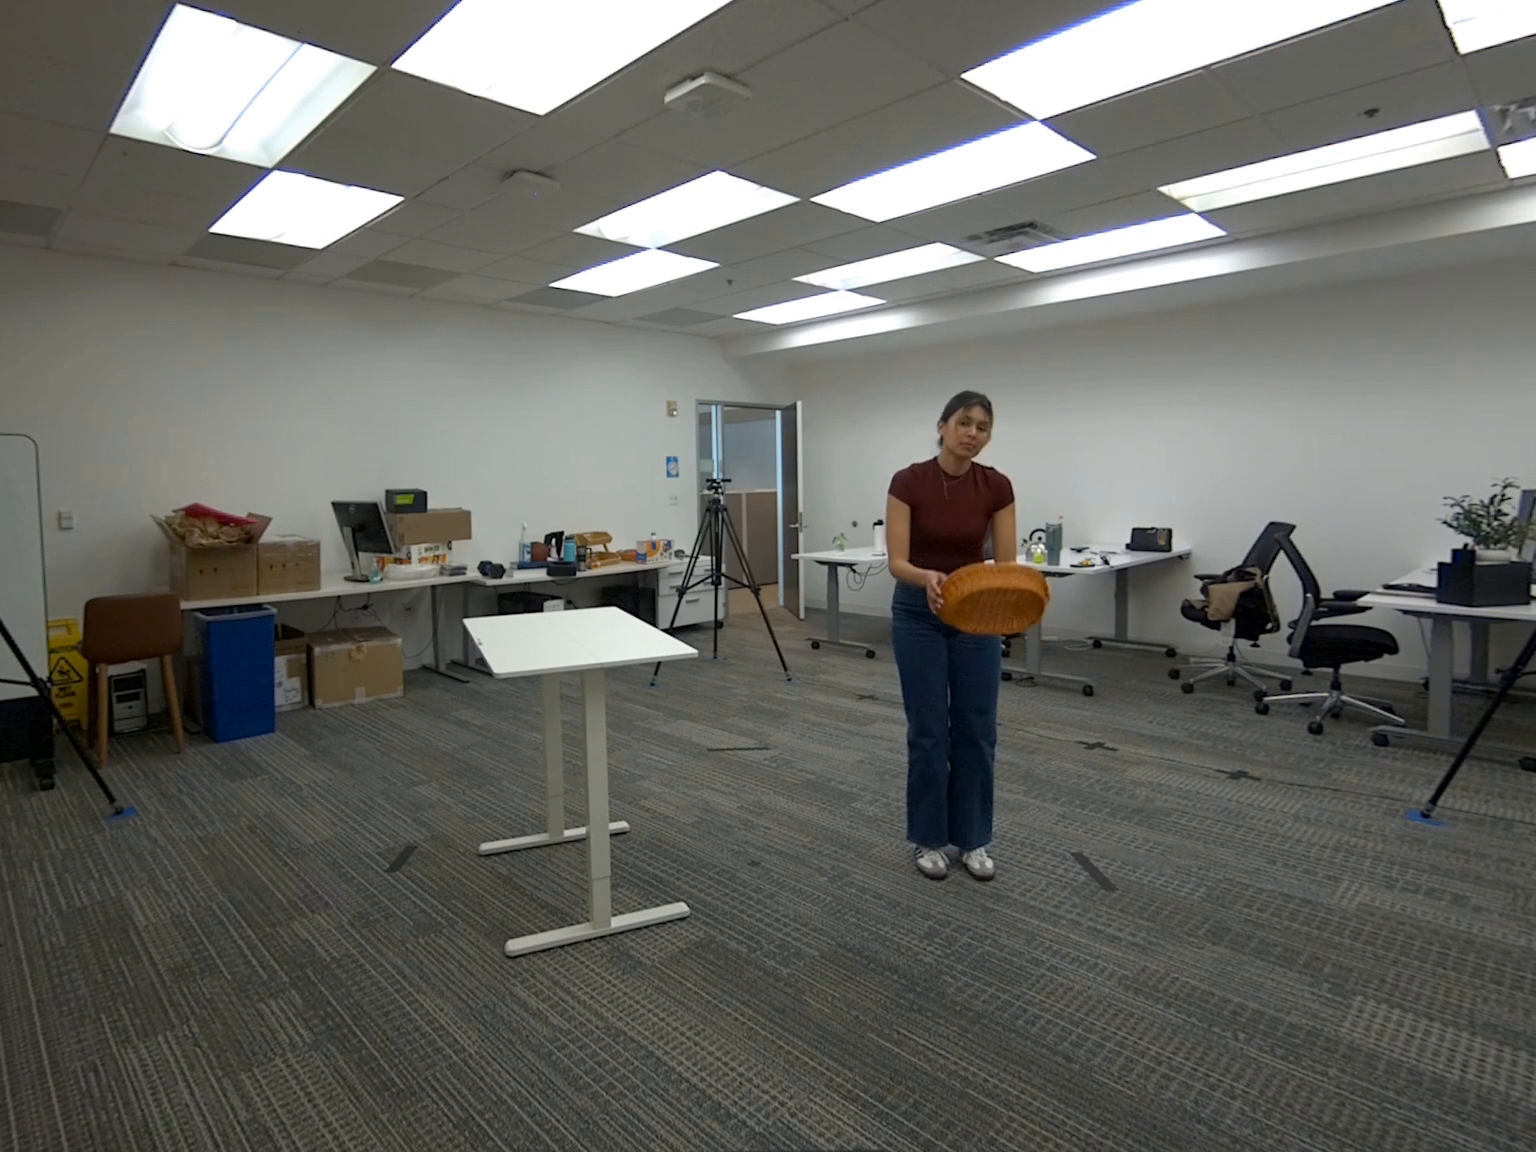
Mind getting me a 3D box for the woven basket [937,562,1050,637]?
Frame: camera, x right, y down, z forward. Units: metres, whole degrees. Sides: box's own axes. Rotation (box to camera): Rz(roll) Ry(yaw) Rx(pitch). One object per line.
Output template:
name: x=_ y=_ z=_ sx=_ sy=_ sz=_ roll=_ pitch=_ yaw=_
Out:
woven basket: x=0.681 y=0.084 z=2.548 sx=0.348 sy=0.247 sz=0.075 roll=1 pitch=37 yaw=-7
